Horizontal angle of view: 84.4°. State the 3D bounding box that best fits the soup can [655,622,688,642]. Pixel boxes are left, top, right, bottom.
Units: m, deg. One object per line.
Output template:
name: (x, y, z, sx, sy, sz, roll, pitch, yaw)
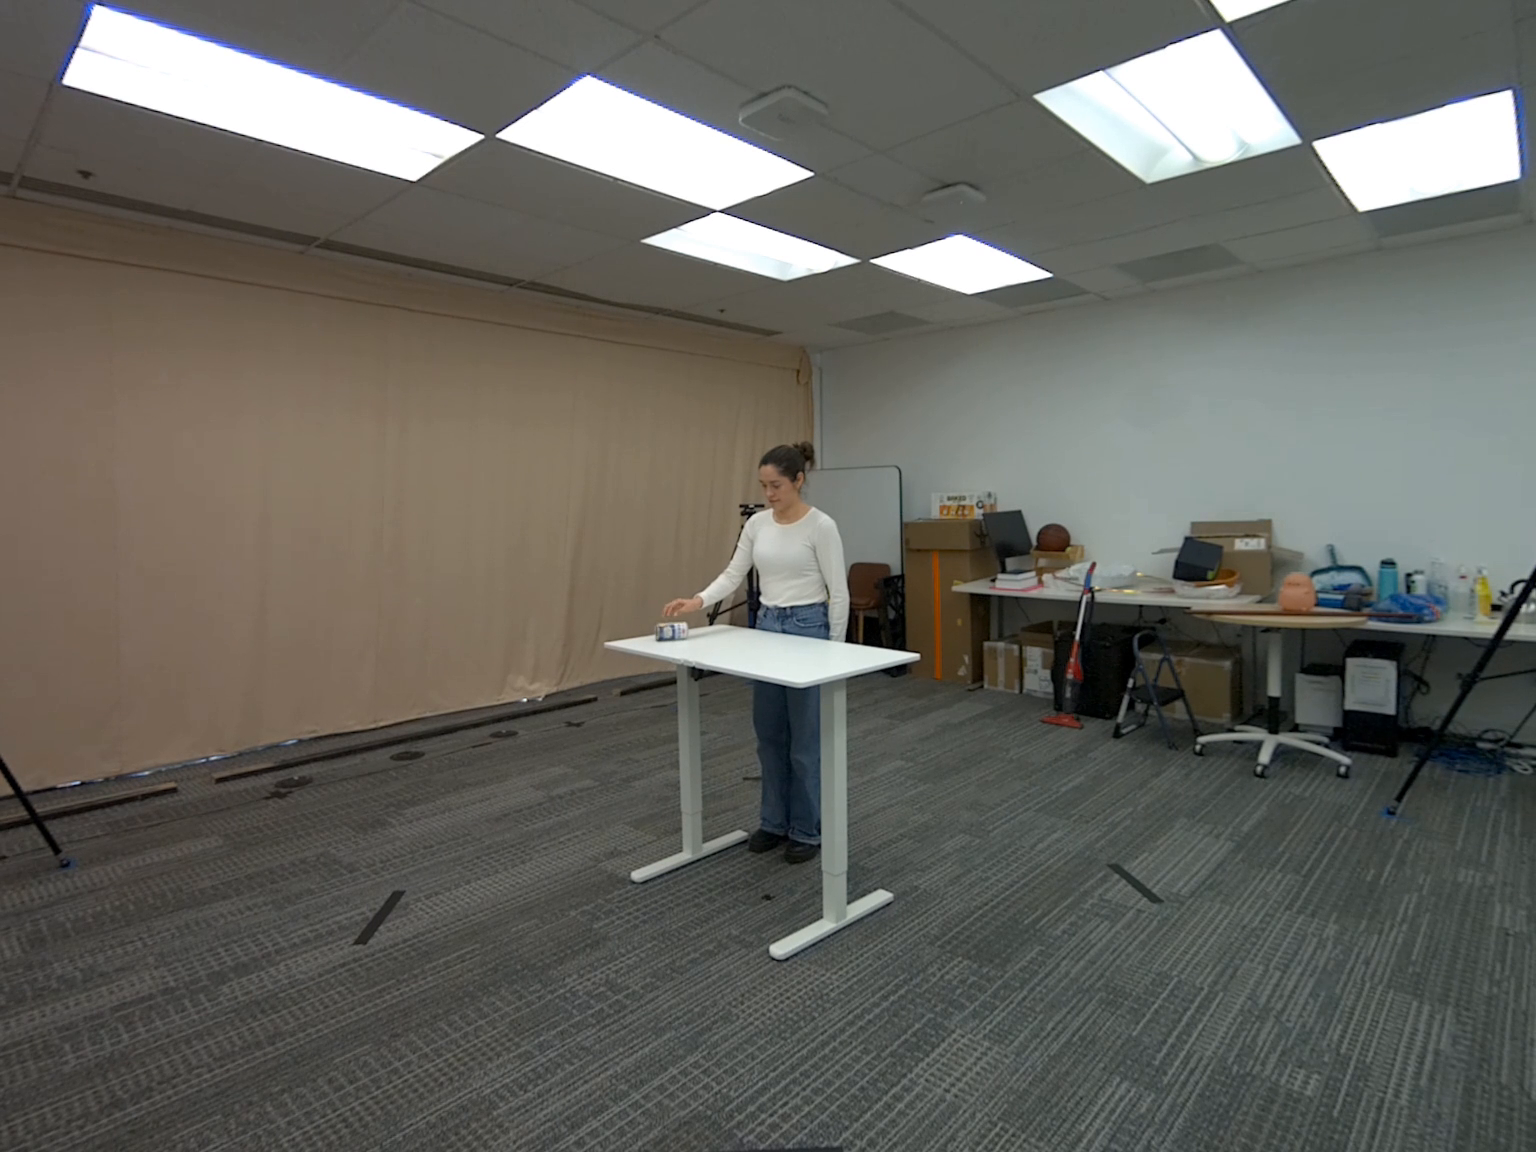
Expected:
soup can: (-0.371, 0.213, 3.195, 0.120, 0.067, 0.068, -4, 4, -11)
